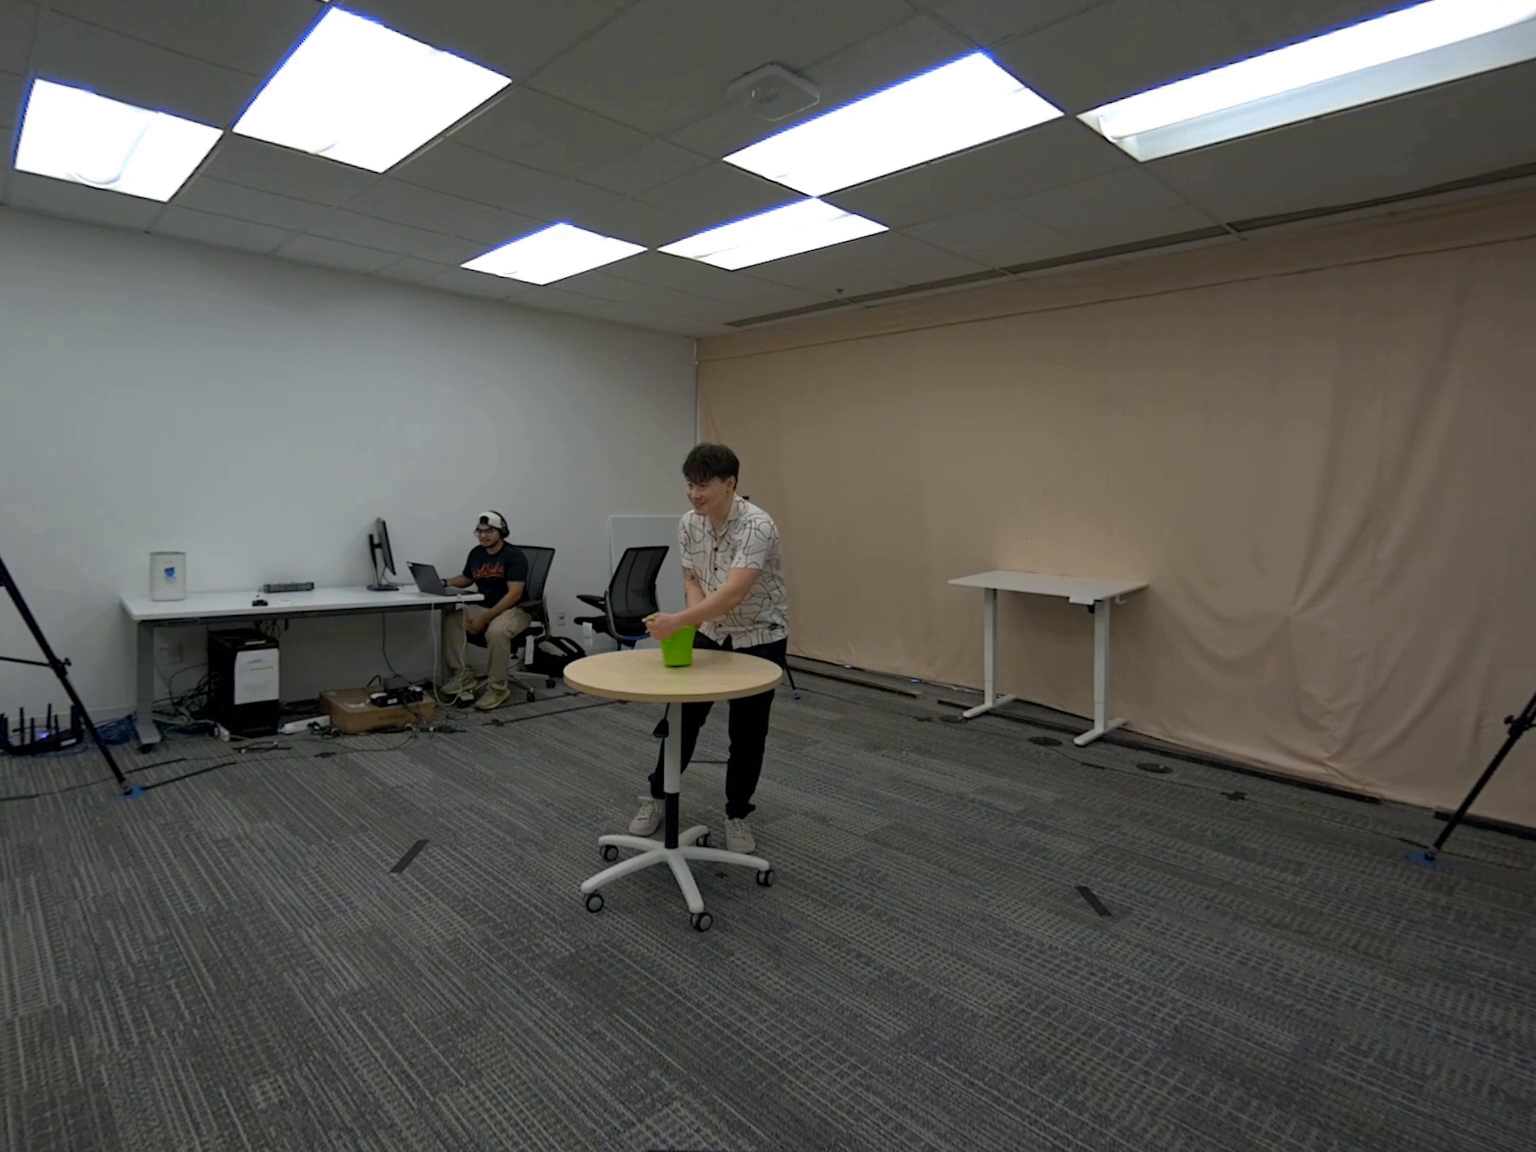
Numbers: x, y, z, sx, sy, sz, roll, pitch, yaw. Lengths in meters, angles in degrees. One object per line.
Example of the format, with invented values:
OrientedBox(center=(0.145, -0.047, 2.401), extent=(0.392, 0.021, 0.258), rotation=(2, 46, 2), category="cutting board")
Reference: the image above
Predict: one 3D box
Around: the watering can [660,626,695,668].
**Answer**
OrientedBox(center=(-0.352, 0.228, 2.992), extent=(0.100, 0.177, 0.271), rotation=(7, -1, 45), category="watering can")
